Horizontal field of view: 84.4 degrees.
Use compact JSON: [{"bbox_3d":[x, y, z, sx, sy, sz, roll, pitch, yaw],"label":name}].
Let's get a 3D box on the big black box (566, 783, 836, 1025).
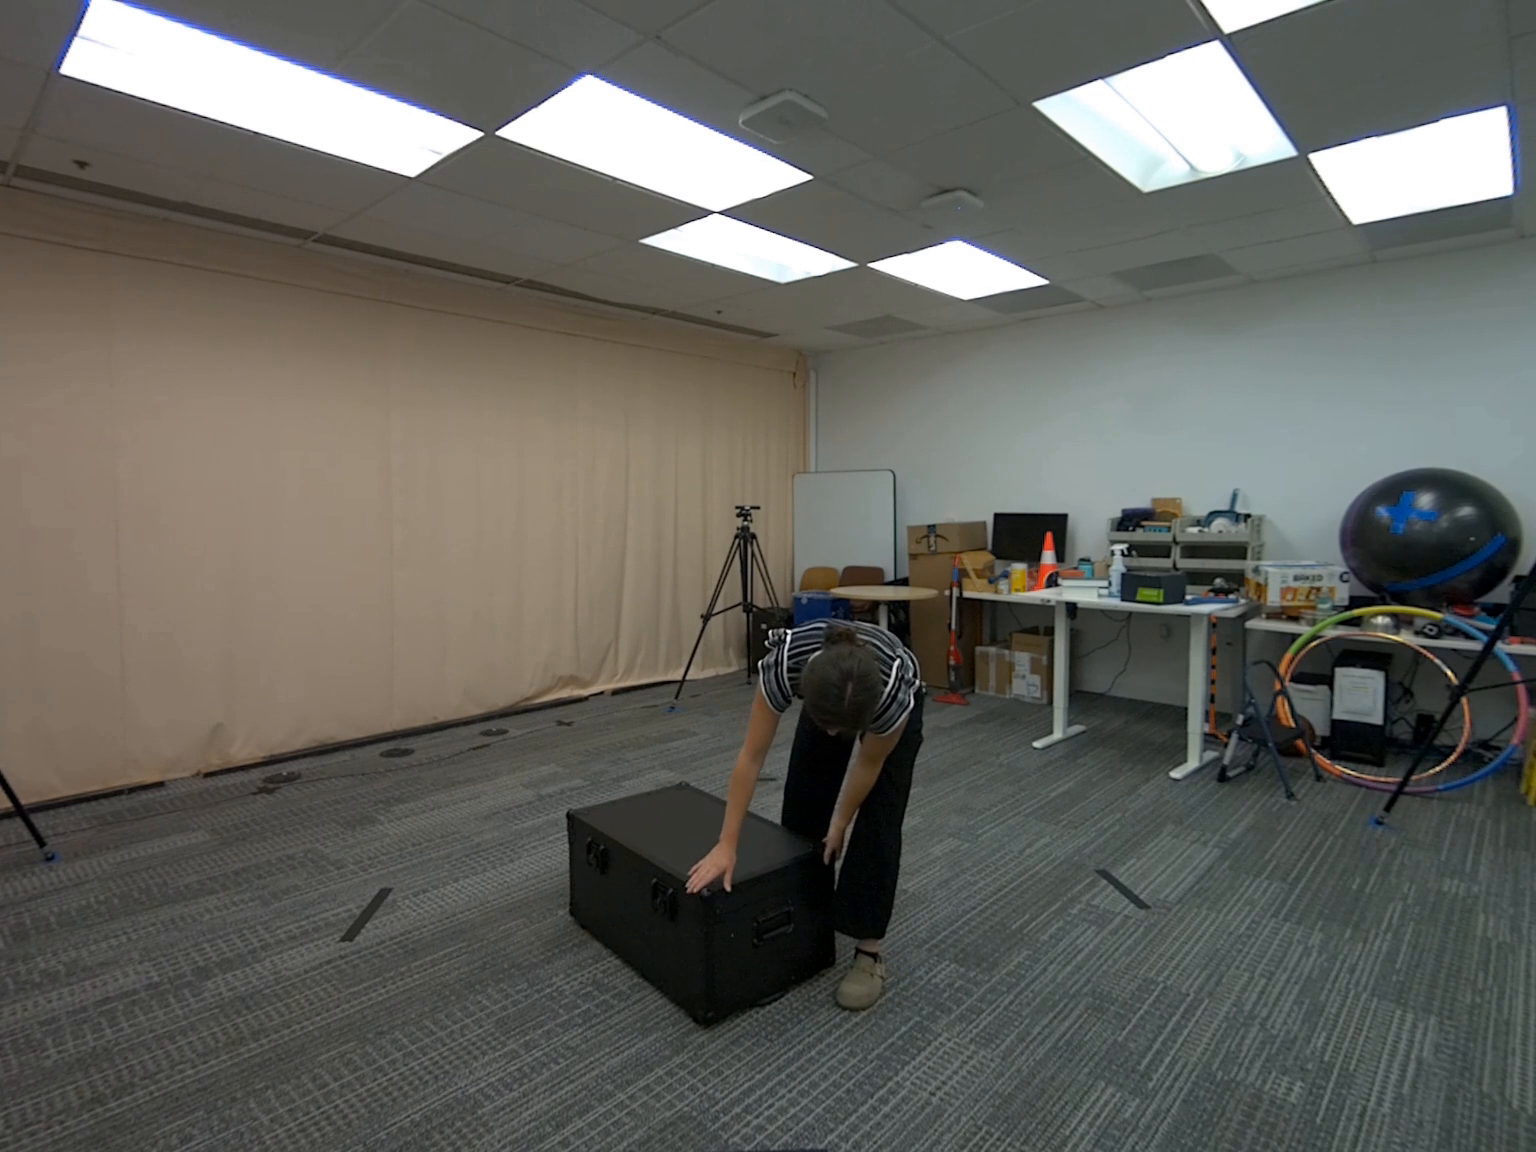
[{"bbox_3d":[-0.257,0.984,2.691,0.505,0.395,0.890,-3,6,-39],"label":"big black box"}]
